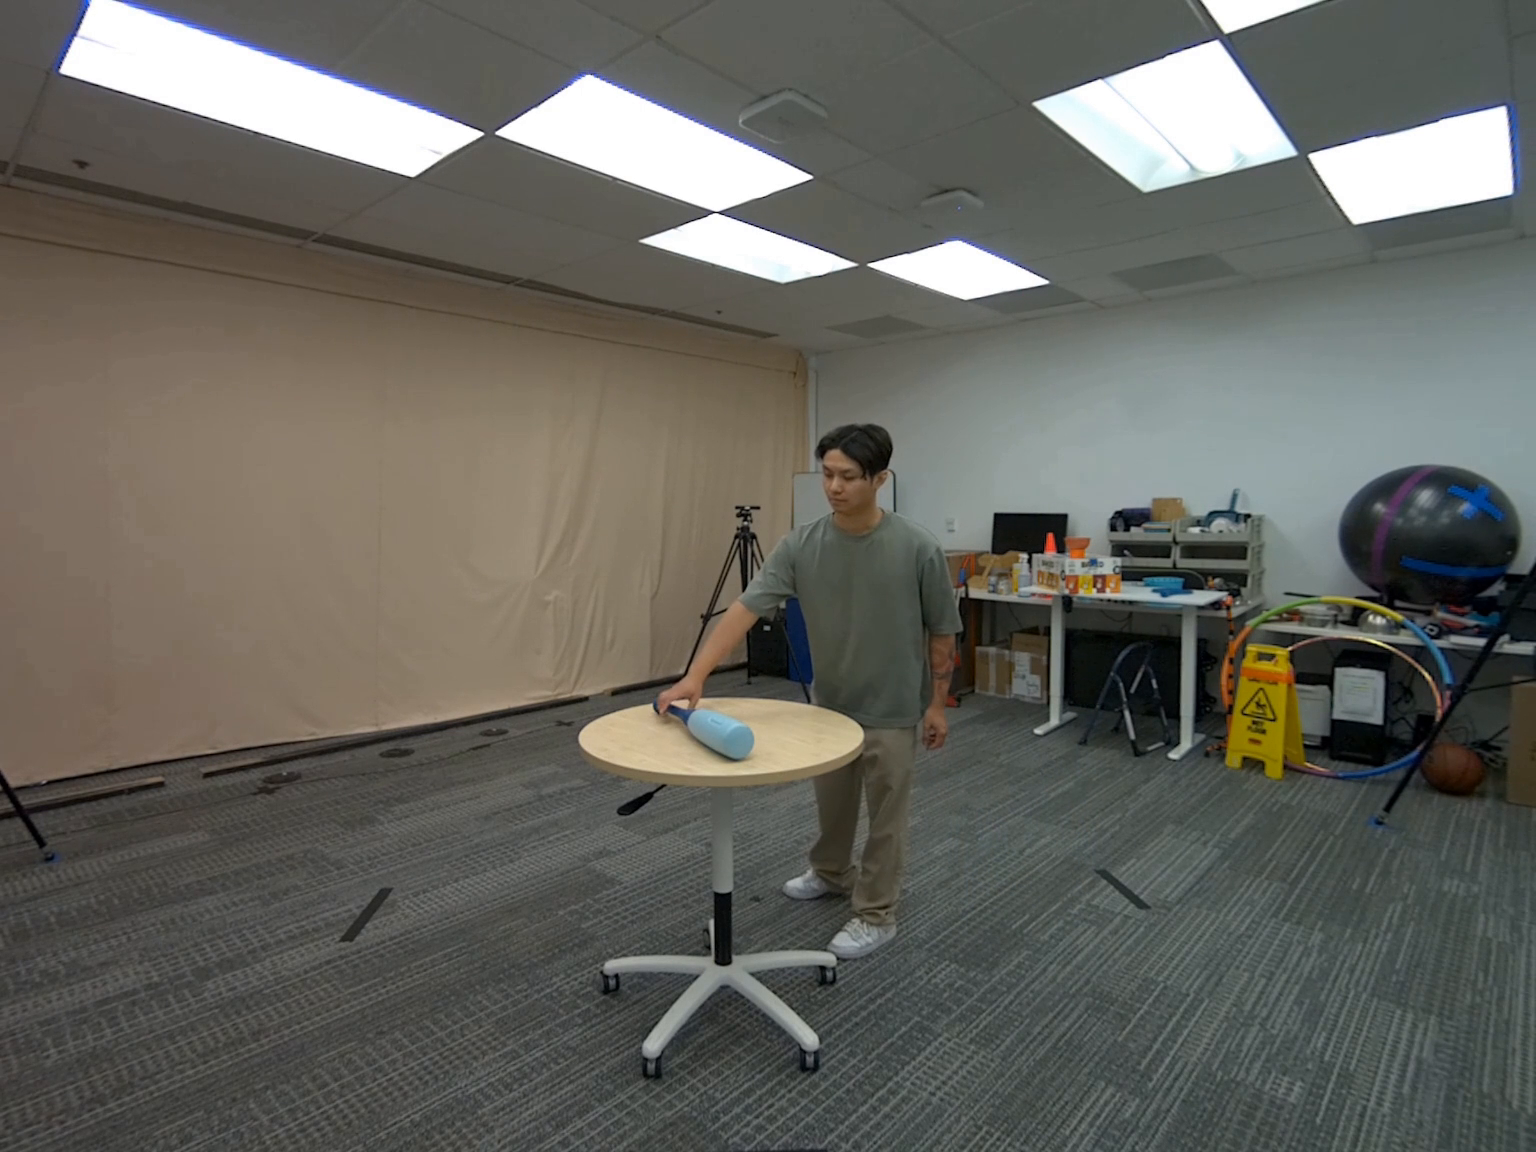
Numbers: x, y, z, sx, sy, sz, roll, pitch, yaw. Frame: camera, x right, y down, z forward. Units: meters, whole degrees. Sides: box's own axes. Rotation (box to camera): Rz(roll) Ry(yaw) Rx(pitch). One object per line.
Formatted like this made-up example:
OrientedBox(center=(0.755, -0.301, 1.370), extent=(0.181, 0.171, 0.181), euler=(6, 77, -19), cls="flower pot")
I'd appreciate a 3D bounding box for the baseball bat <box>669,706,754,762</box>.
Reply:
OrientedBox(center=(-0.185, 0.389, 2.234), extent=(0.087, 0.089, 0.557), euler=(-2, 2, -28), cls="baseball bat")
